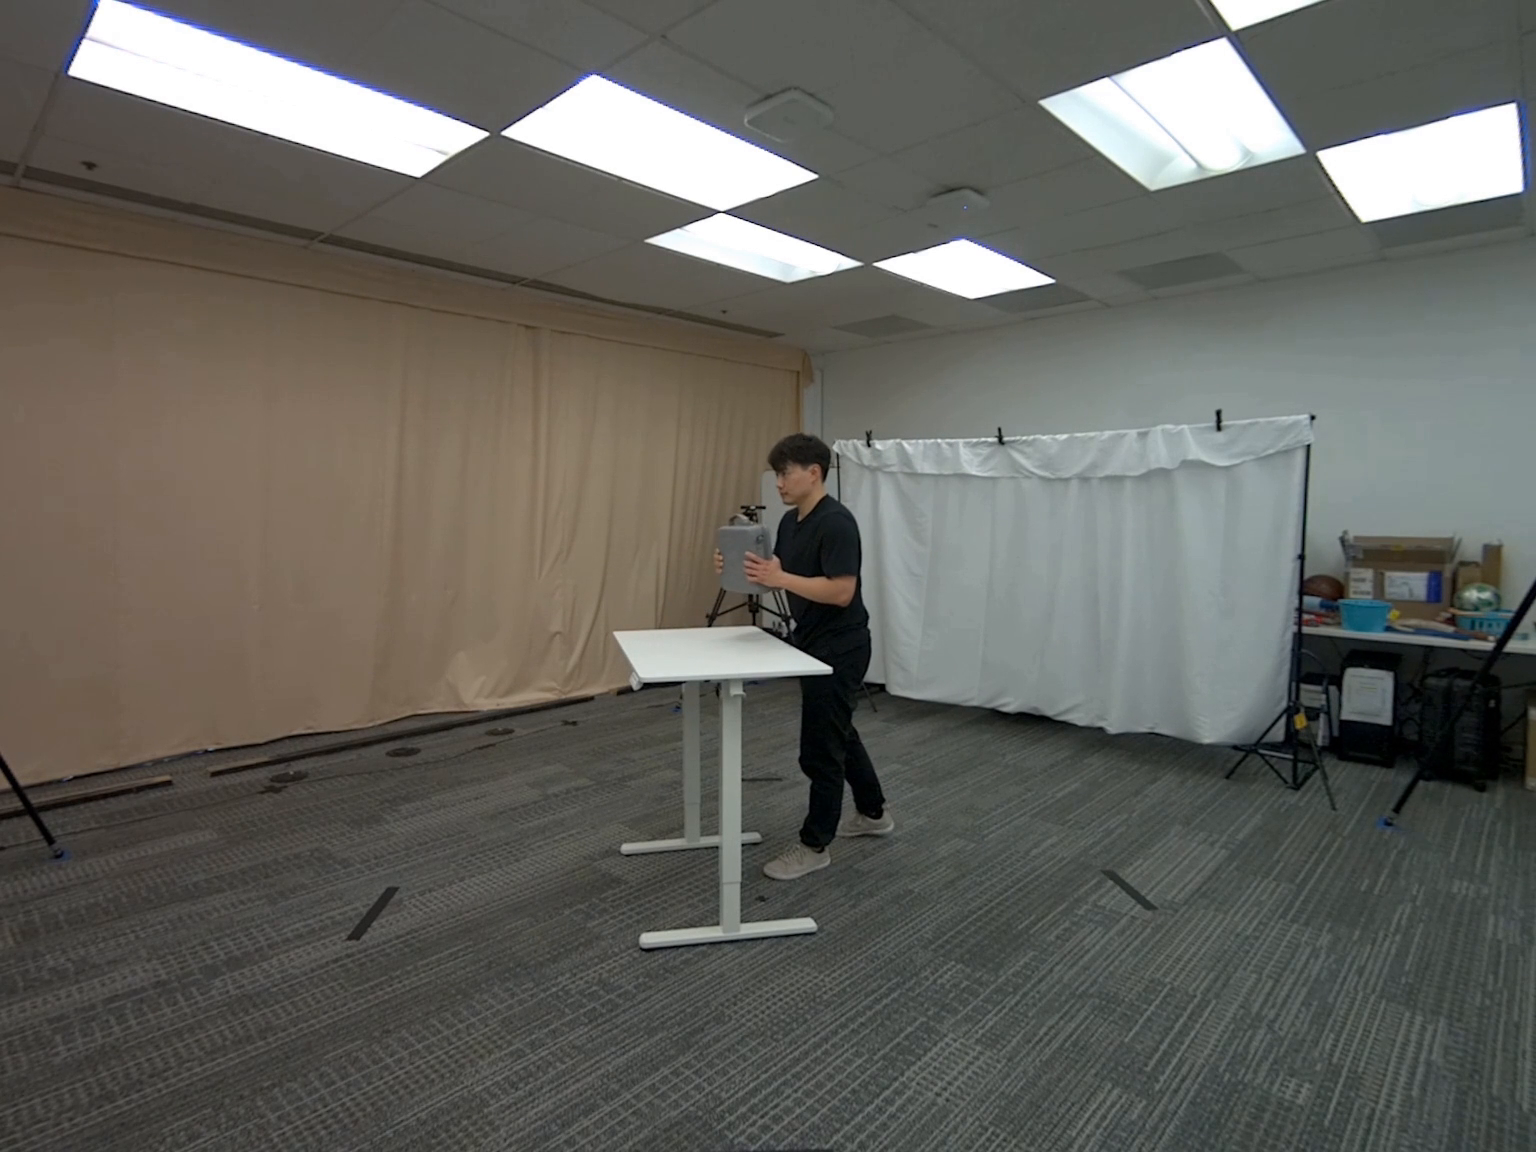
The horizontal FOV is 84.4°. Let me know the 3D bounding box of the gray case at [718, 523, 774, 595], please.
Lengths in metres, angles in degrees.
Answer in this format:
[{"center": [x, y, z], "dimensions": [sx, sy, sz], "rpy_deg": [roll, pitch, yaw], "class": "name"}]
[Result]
[{"center": [-0.076, -0.070, 3.169], "dimensions": [0.102, 0.260, 0.264], "rpy_deg": [-8, 5, -30], "class": "gray case"}]
